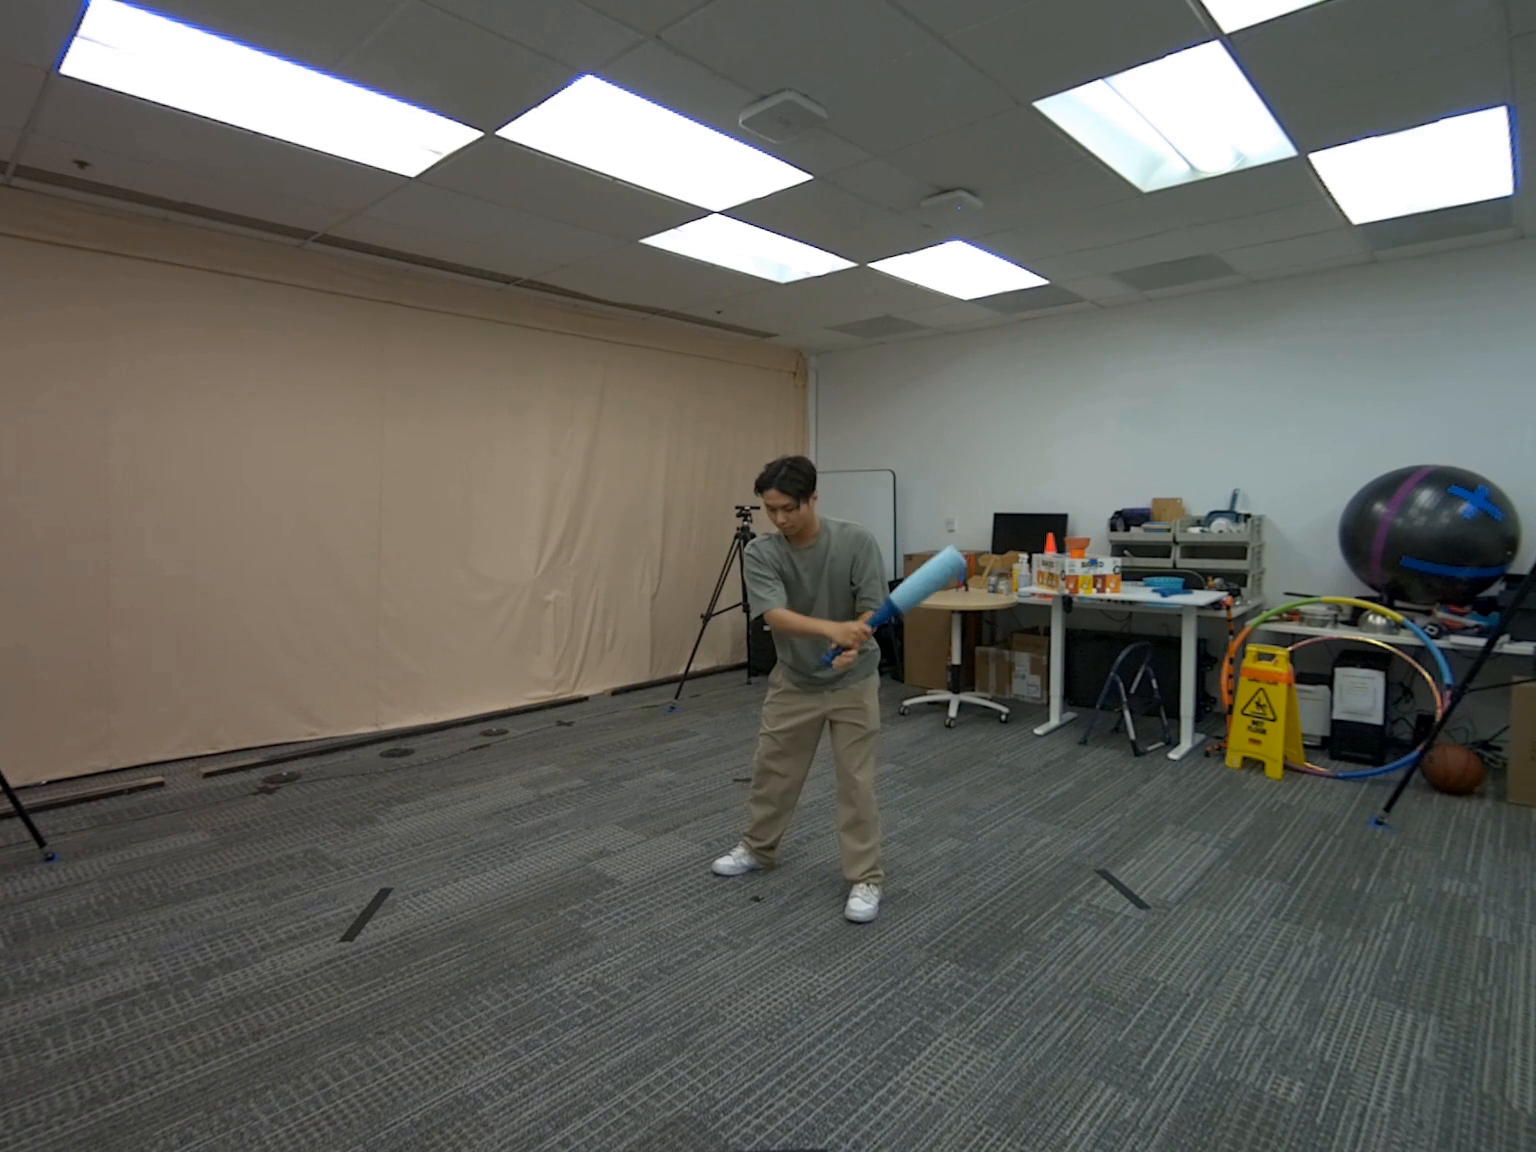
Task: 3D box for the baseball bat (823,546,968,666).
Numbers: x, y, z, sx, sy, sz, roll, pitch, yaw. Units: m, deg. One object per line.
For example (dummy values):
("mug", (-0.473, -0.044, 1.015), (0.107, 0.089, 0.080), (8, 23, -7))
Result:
("baseball bat", (0.382, 0.112, 2.665), (0.546, 0.090, 0.088), (-38, -6, 14))
